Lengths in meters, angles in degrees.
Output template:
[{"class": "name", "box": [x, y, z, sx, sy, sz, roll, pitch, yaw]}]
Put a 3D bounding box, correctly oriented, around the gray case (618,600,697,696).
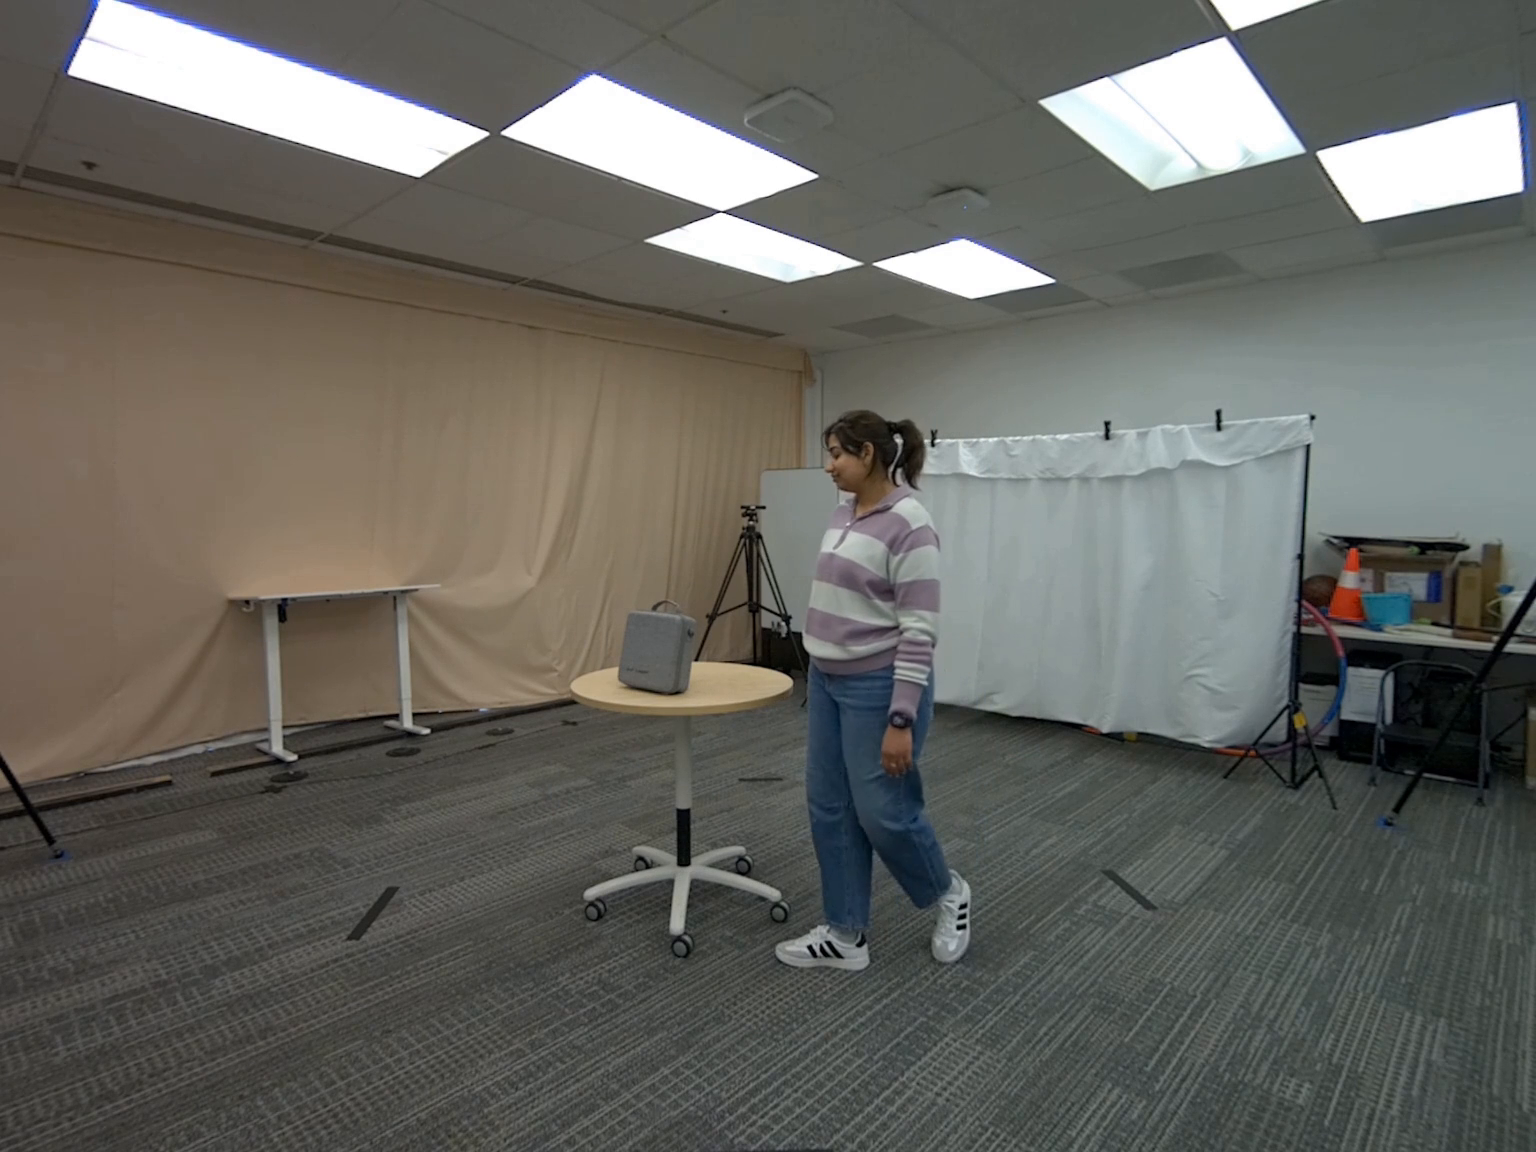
[{"class": "gray case", "box": [-0.370, 0.246, 2.789, 0.265, 0.261, 0.101, 4, -7, 39]}]
